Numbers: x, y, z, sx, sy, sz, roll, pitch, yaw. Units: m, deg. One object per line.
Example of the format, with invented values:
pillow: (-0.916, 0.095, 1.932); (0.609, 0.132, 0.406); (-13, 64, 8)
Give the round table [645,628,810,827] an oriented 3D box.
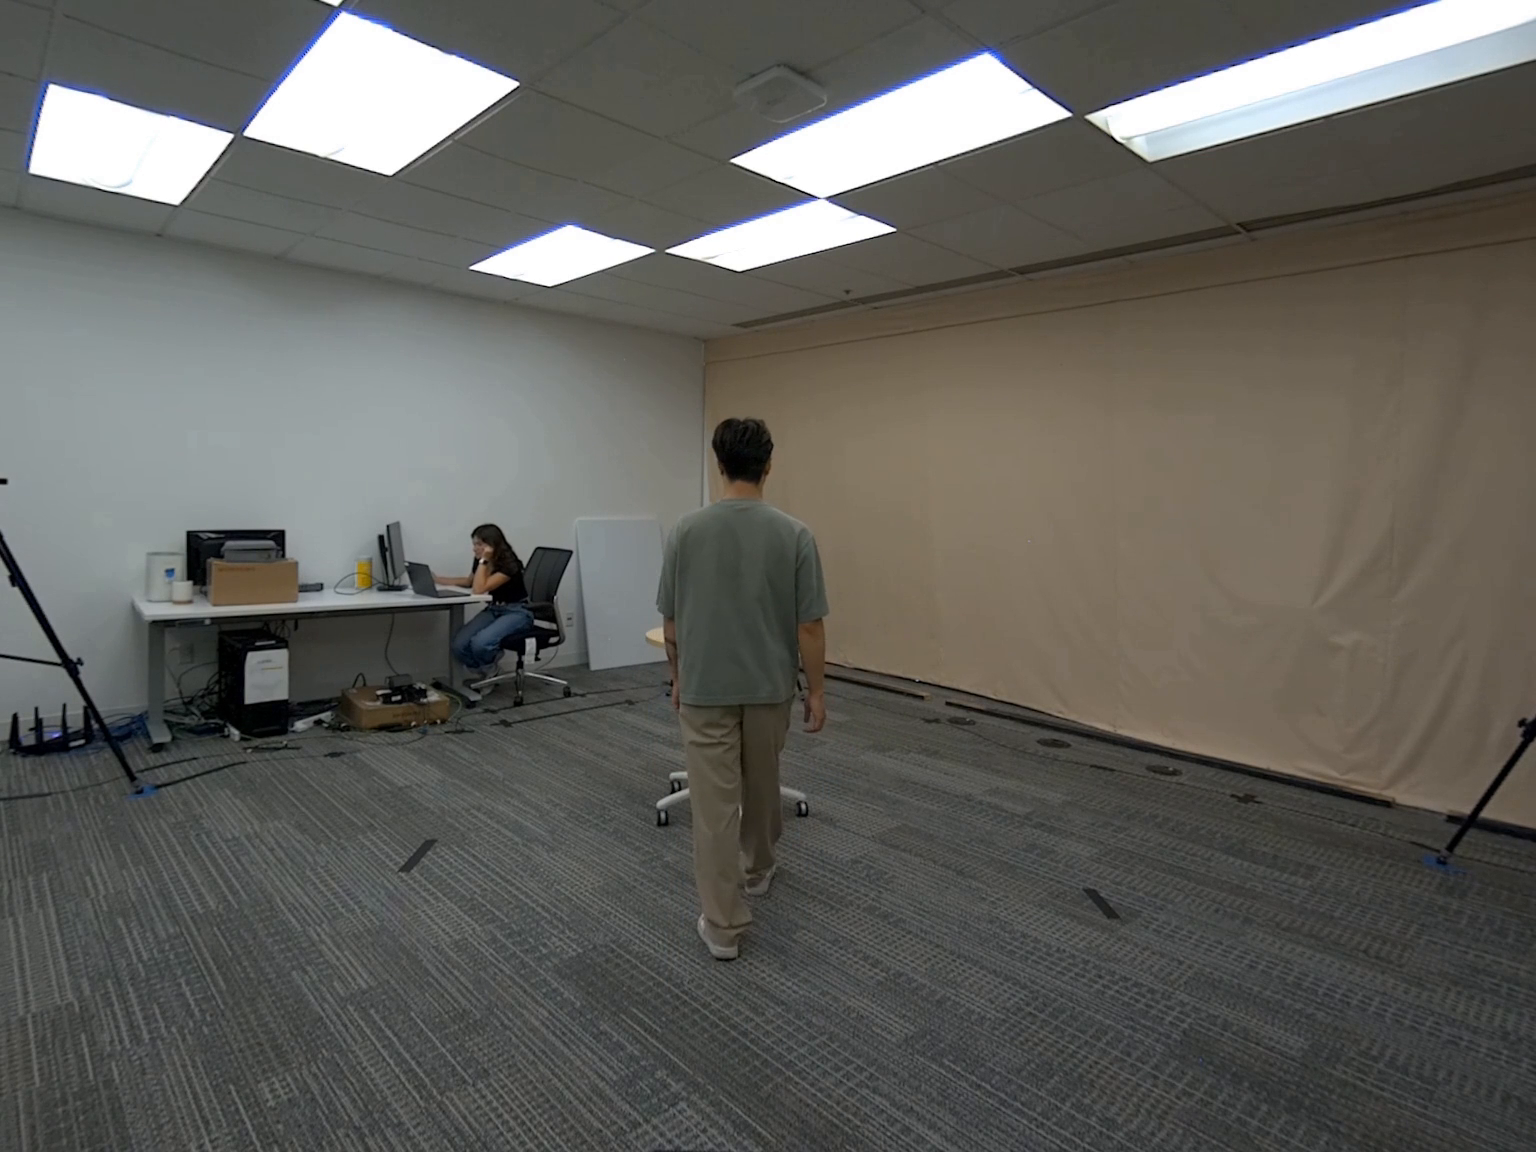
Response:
round table: (-0.162, 0.660, 3.751); (0.784, 0.785, 0.787); (1, 3, -1)
